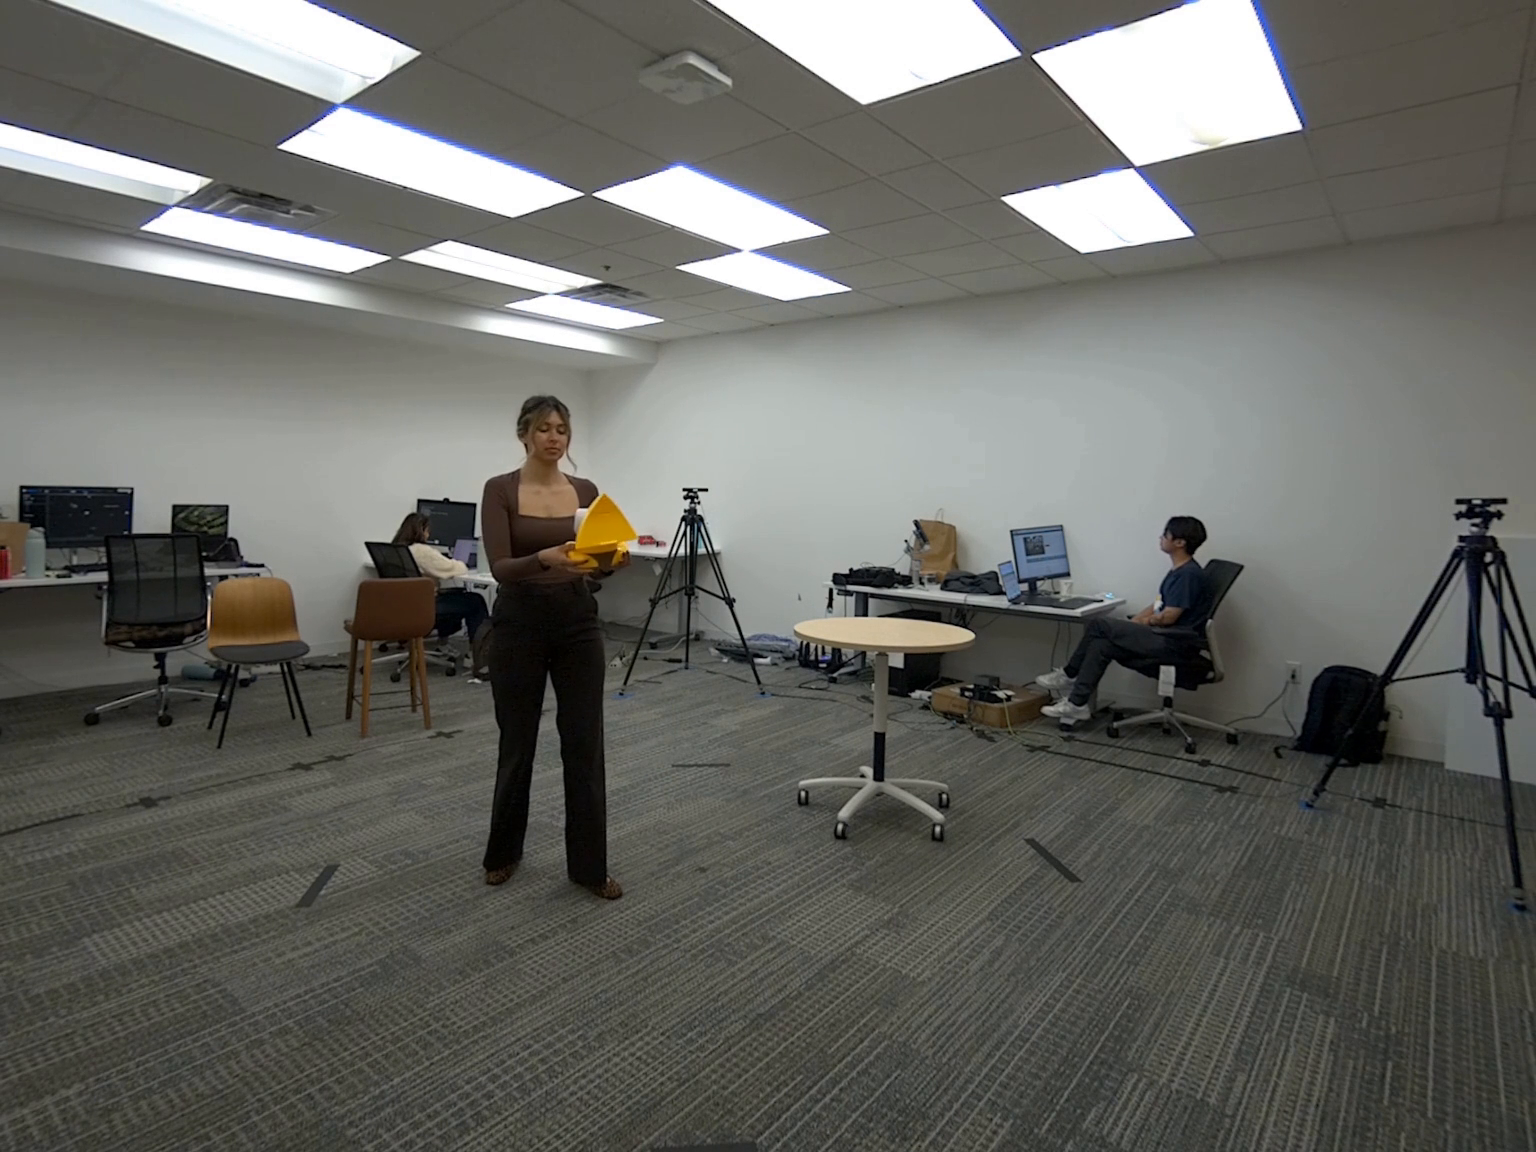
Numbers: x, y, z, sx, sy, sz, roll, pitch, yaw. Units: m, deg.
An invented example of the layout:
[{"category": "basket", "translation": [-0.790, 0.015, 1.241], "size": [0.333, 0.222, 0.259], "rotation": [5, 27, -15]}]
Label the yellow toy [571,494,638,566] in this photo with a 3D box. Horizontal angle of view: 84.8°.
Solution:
[{"category": "yellow toy", "translation": [-0.541, -0.167, 2.621], "size": [0.200, 0.226, 0.201], "rotation": [-10, 25, -30]}]
